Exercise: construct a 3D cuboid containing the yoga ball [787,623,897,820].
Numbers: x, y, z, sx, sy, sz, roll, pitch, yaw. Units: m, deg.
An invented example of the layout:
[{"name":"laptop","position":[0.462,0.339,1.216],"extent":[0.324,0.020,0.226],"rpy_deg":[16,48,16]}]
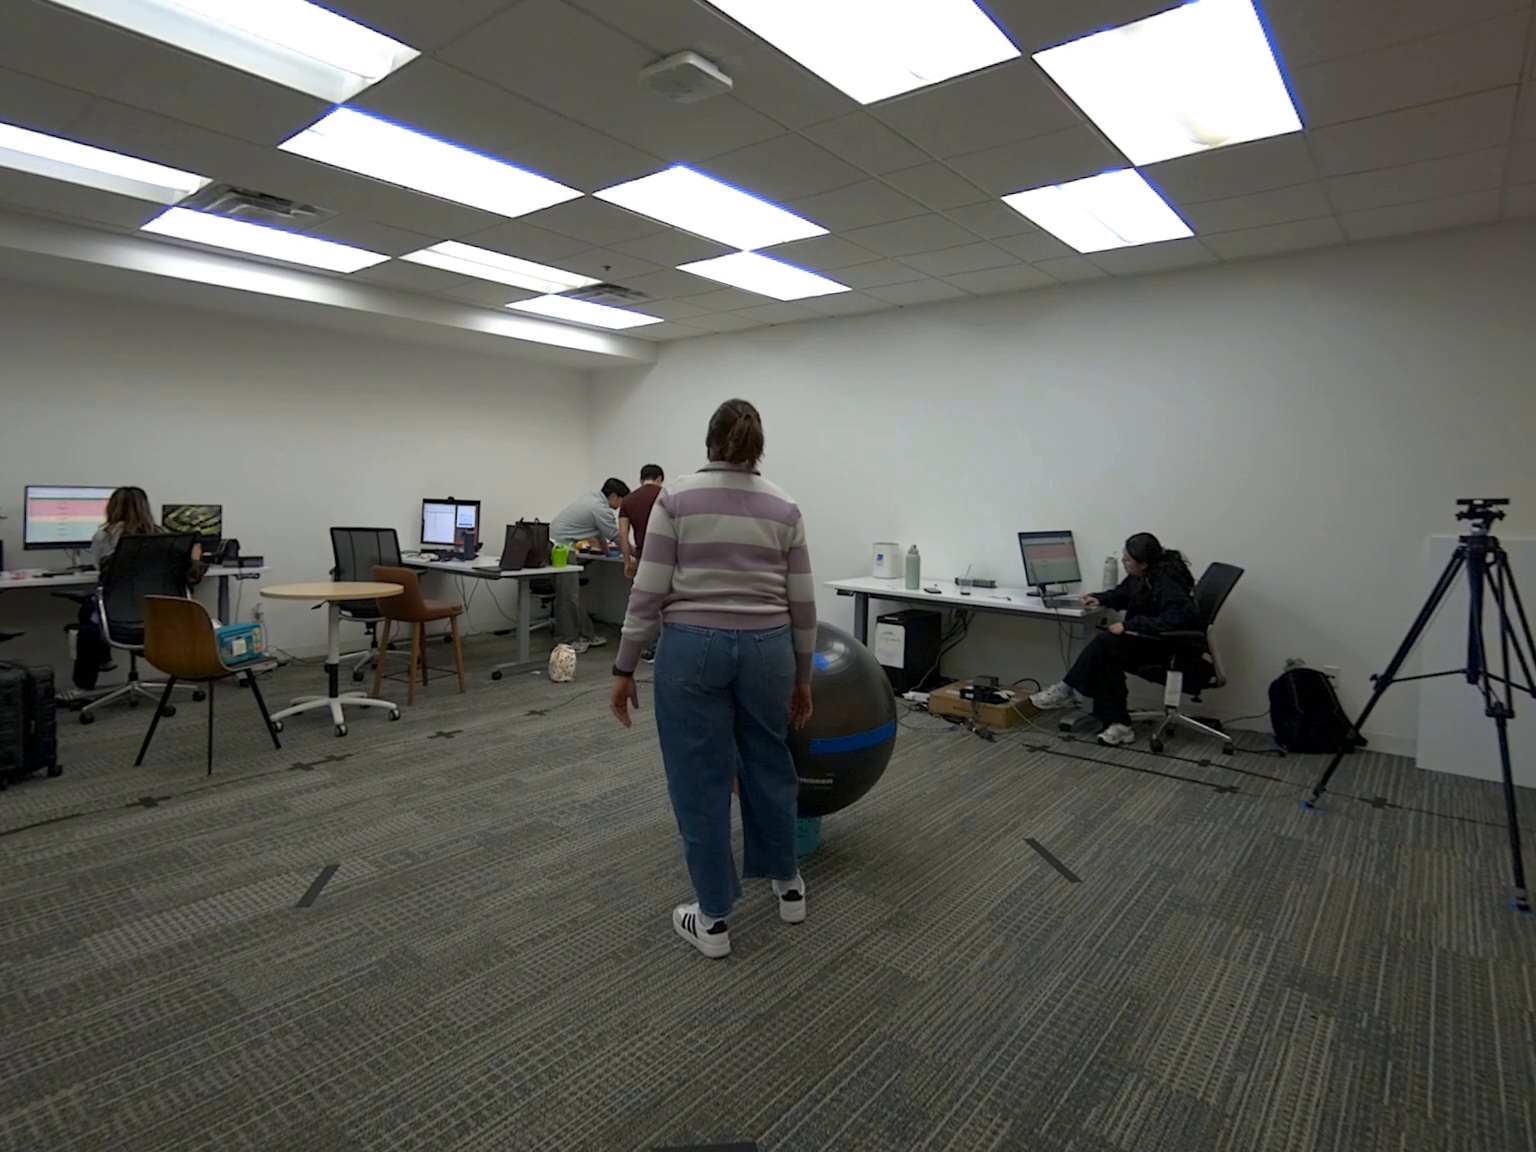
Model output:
[{"name":"yoga ball","position":[0.124,0.552,3.307],"extent":[0.757,0.755,0.762],"rpy_deg":[1,4,-2]}]
